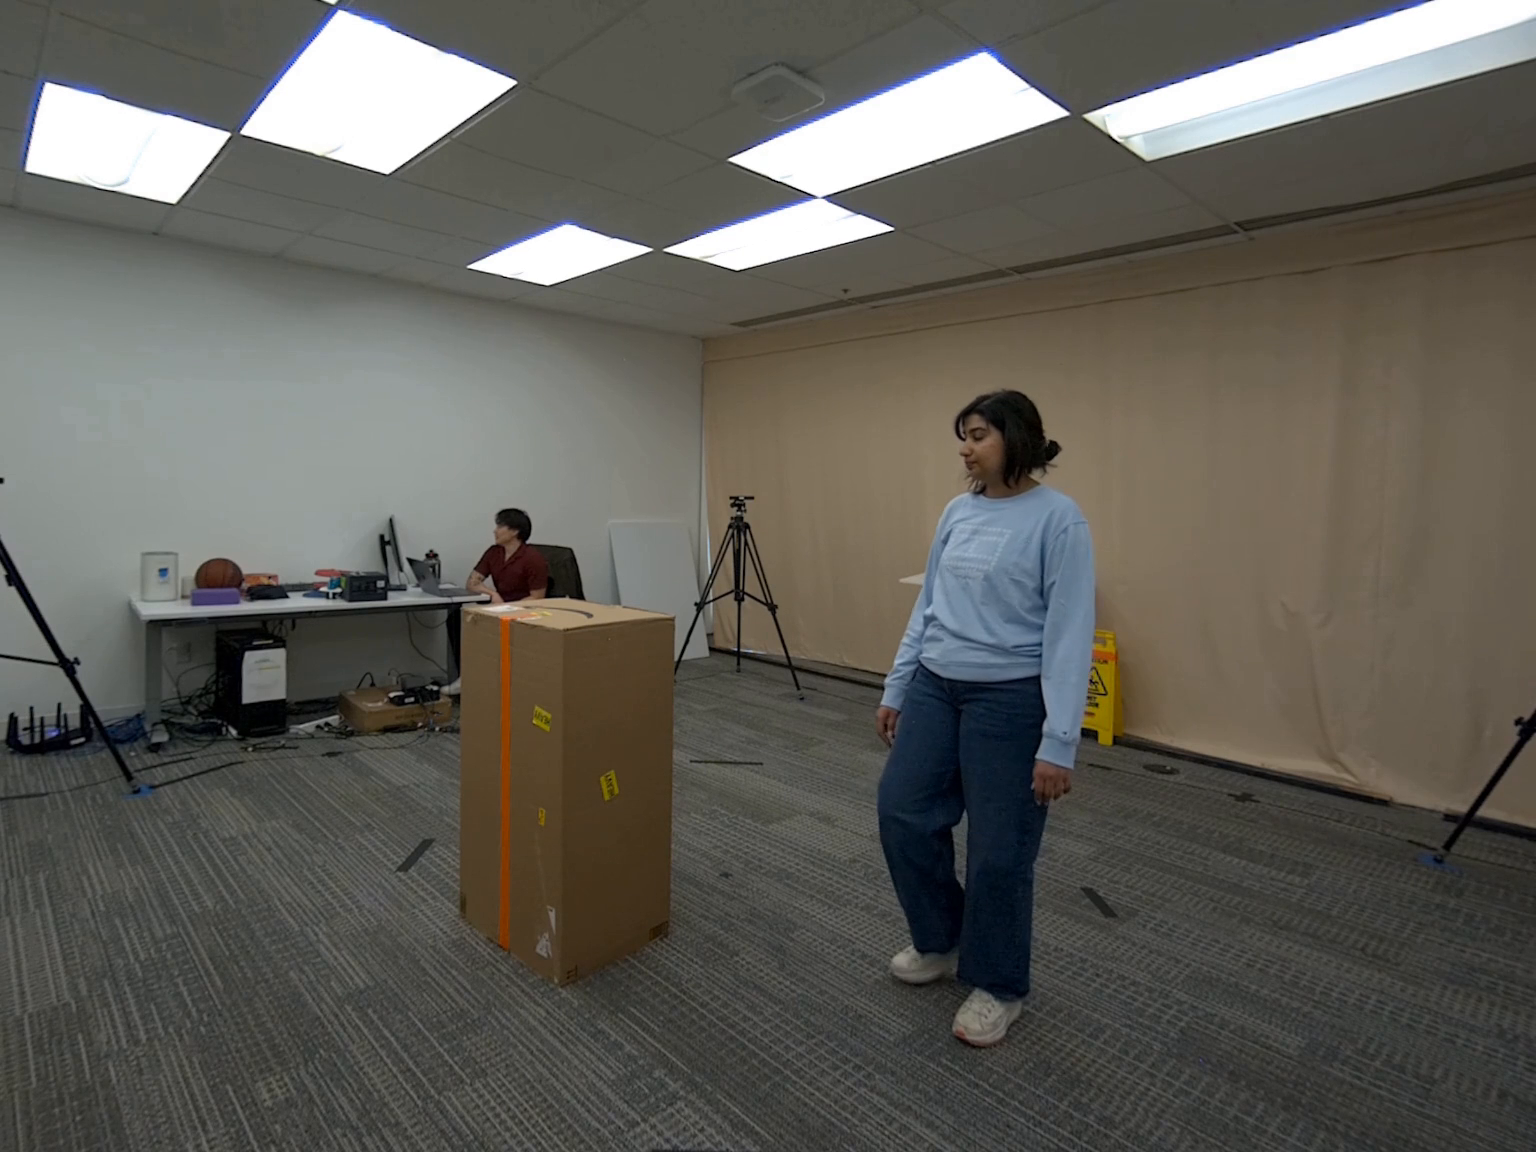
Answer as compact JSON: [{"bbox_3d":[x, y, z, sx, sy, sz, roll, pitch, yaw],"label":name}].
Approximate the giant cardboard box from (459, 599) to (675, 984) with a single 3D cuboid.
[{"bbox_3d":[-0.660,0.624,2.691,0.592,1.023,0.416,4,4,43],"label":"giant cardboard box"}]
